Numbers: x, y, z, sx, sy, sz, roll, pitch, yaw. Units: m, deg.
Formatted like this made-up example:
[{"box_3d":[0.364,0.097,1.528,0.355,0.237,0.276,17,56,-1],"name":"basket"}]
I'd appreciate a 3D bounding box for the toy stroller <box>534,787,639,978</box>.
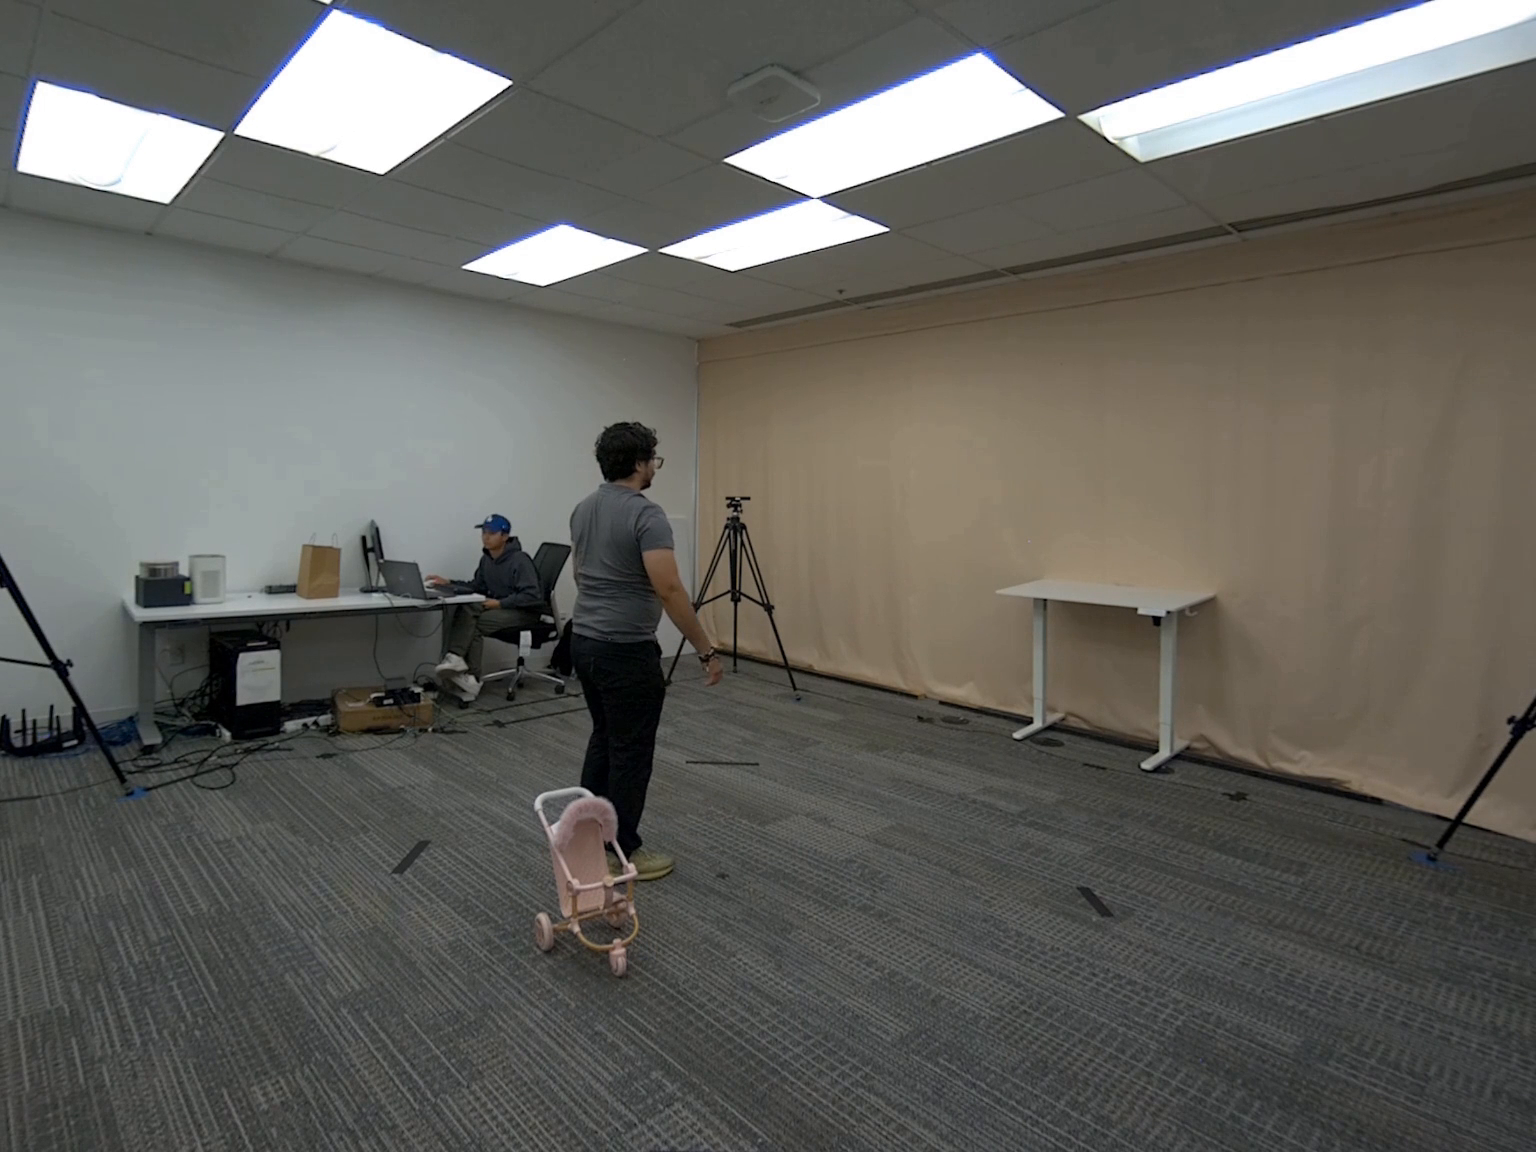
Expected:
[{"box_3d":[-0.561,0.925,2.585,0.275,0.540,0.345,-1,-13,-33],"name":"toy stroller"}]
